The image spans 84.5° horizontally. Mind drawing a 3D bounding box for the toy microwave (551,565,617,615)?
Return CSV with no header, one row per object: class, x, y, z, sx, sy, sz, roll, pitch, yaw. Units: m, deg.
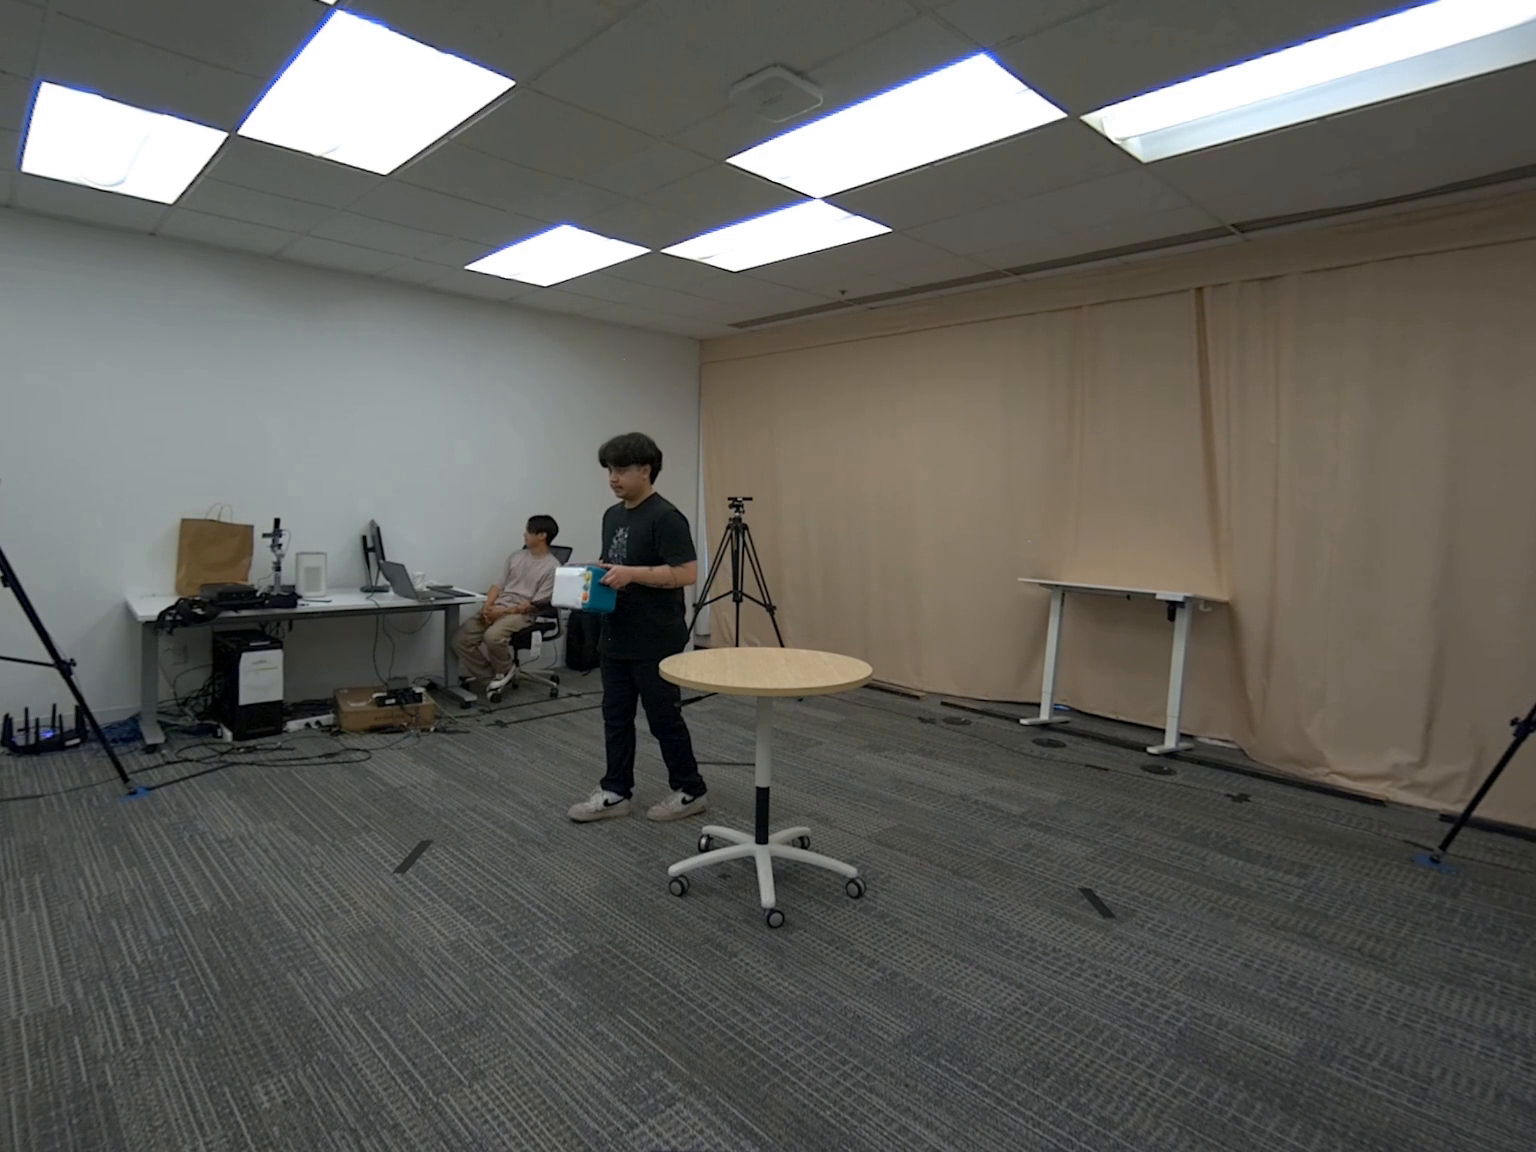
toy microwave,-0.762,0.051,3.443,0.293,0.185,0.148,2,-6,44
